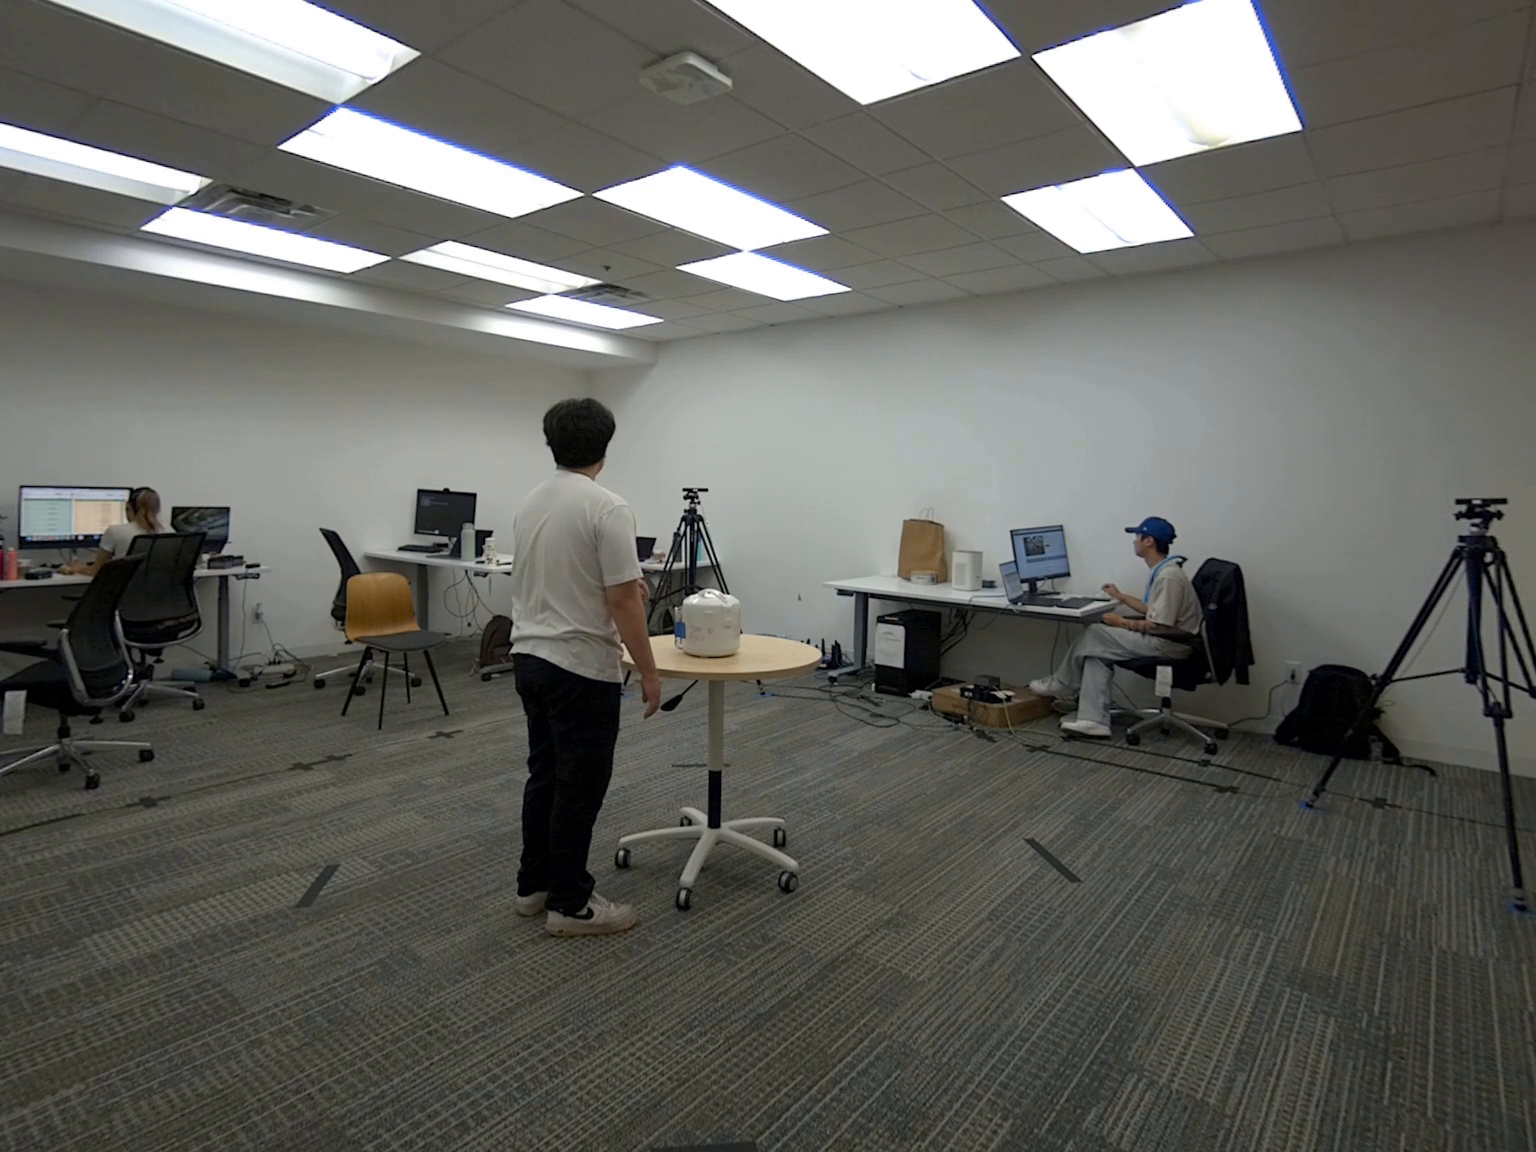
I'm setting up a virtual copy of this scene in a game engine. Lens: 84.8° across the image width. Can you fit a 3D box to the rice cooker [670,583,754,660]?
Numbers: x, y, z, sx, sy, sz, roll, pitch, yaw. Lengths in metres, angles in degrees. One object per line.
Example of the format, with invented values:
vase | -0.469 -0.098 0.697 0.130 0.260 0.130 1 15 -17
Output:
rice cooker | -0.209 0.159 3.069 0.211 0.232 0.228 -2 5 -34
